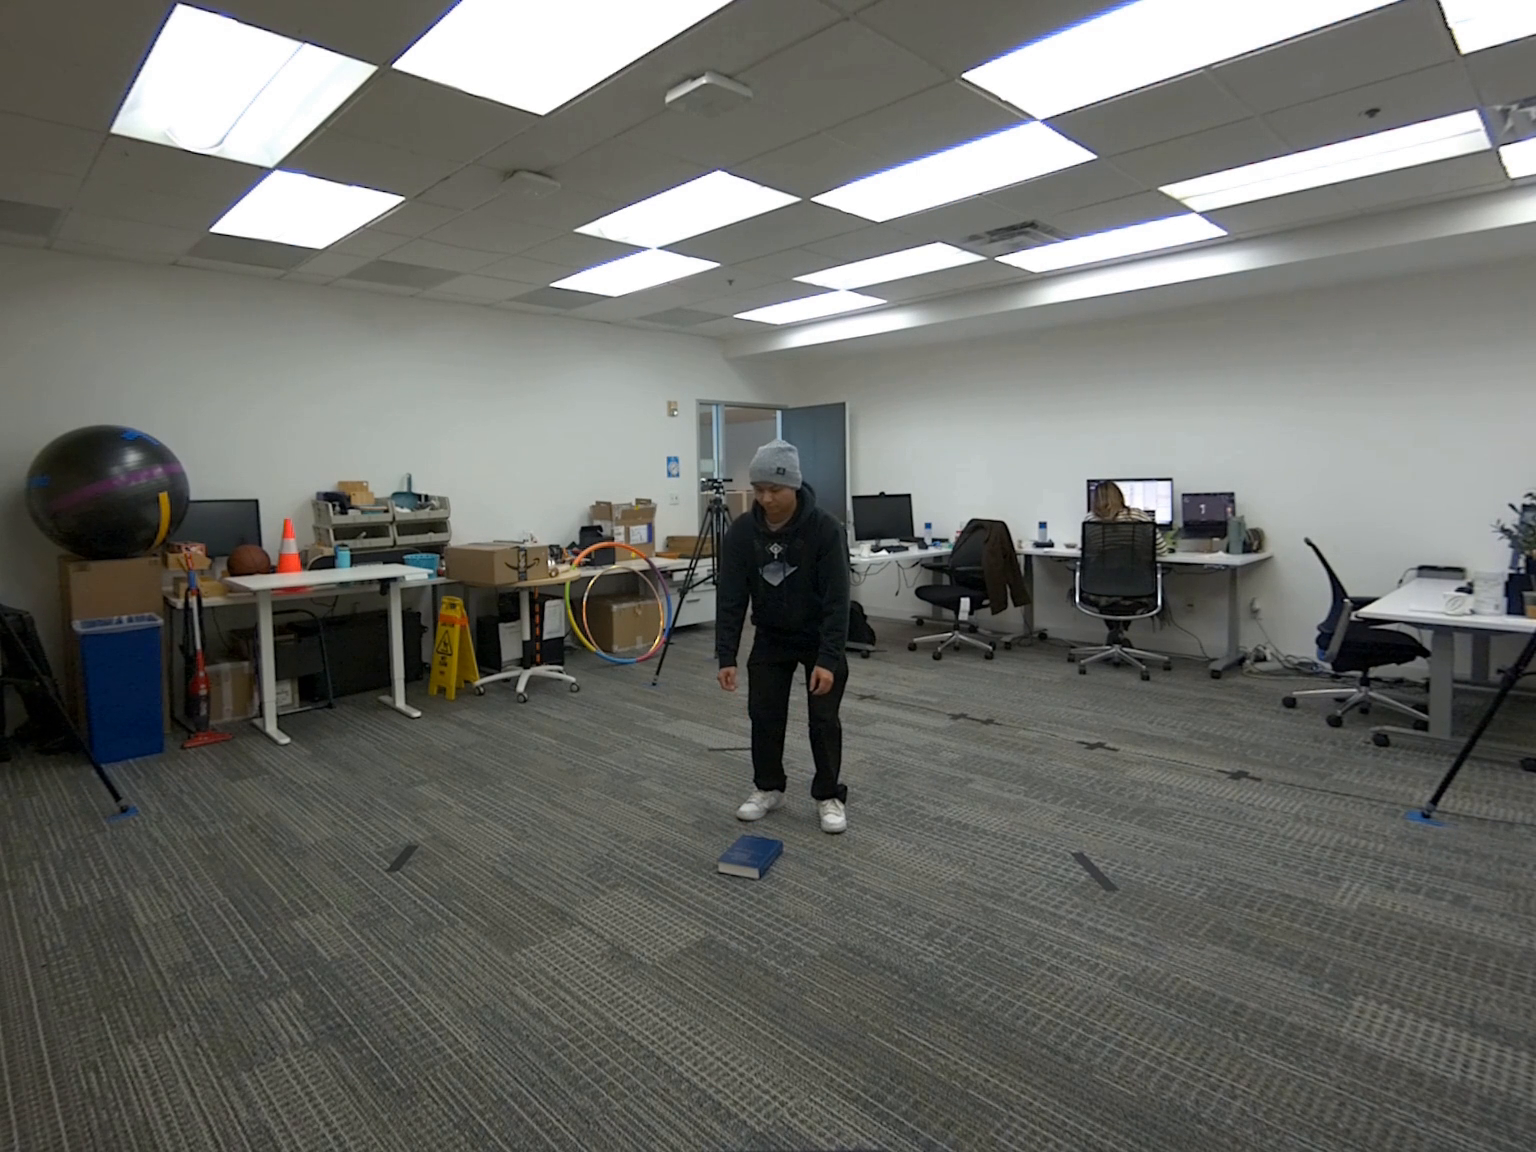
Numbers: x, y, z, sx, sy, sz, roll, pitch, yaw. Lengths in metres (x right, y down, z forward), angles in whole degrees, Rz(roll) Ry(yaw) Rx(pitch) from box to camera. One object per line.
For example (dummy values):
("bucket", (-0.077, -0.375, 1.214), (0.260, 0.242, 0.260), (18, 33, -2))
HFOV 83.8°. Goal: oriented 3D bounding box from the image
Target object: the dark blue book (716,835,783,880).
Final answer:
("dark blue book", (-0.062, 1.017, 3.114), (0.167, 0.045, 0.241), (1, 7, 22))
